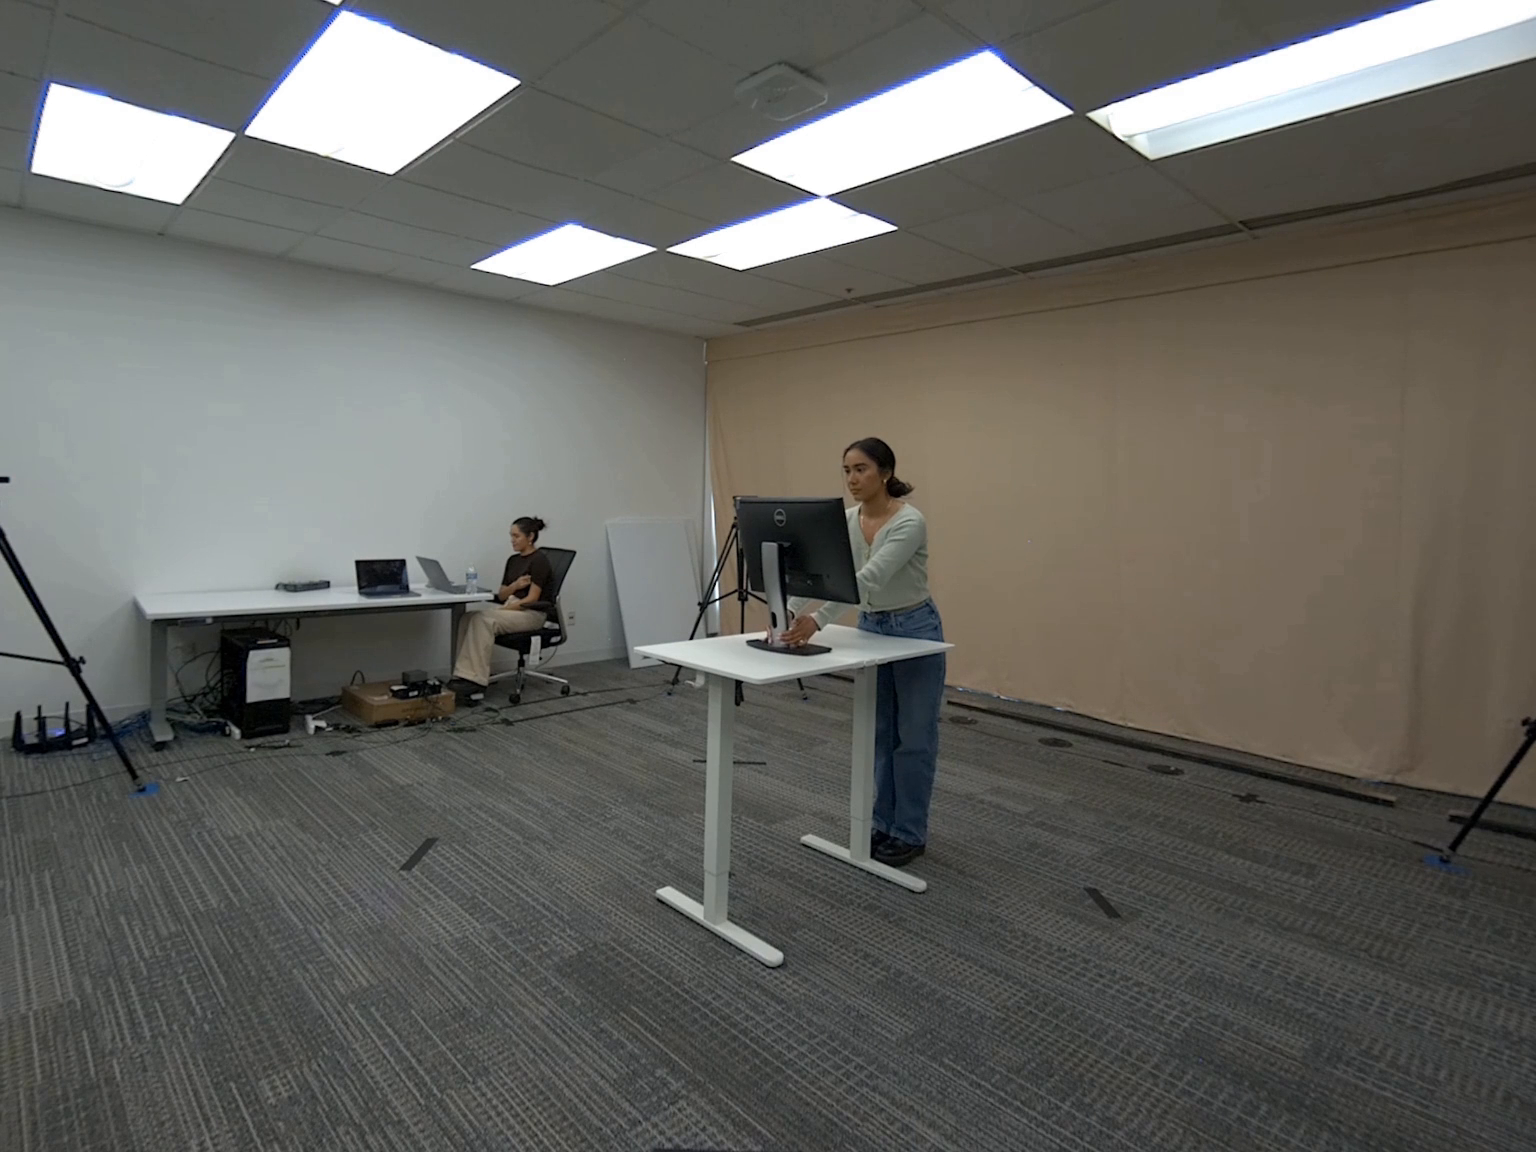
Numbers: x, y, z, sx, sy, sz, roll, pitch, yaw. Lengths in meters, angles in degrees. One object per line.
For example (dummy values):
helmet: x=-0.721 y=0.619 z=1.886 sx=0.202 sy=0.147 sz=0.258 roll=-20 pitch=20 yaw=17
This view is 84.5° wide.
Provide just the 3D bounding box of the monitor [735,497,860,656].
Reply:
monitor: x=0.052 y=-0.004 z=2.838 sx=0.183 sy=0.521 sz=0.553 roll=-4 pitch=6 yaw=-41
